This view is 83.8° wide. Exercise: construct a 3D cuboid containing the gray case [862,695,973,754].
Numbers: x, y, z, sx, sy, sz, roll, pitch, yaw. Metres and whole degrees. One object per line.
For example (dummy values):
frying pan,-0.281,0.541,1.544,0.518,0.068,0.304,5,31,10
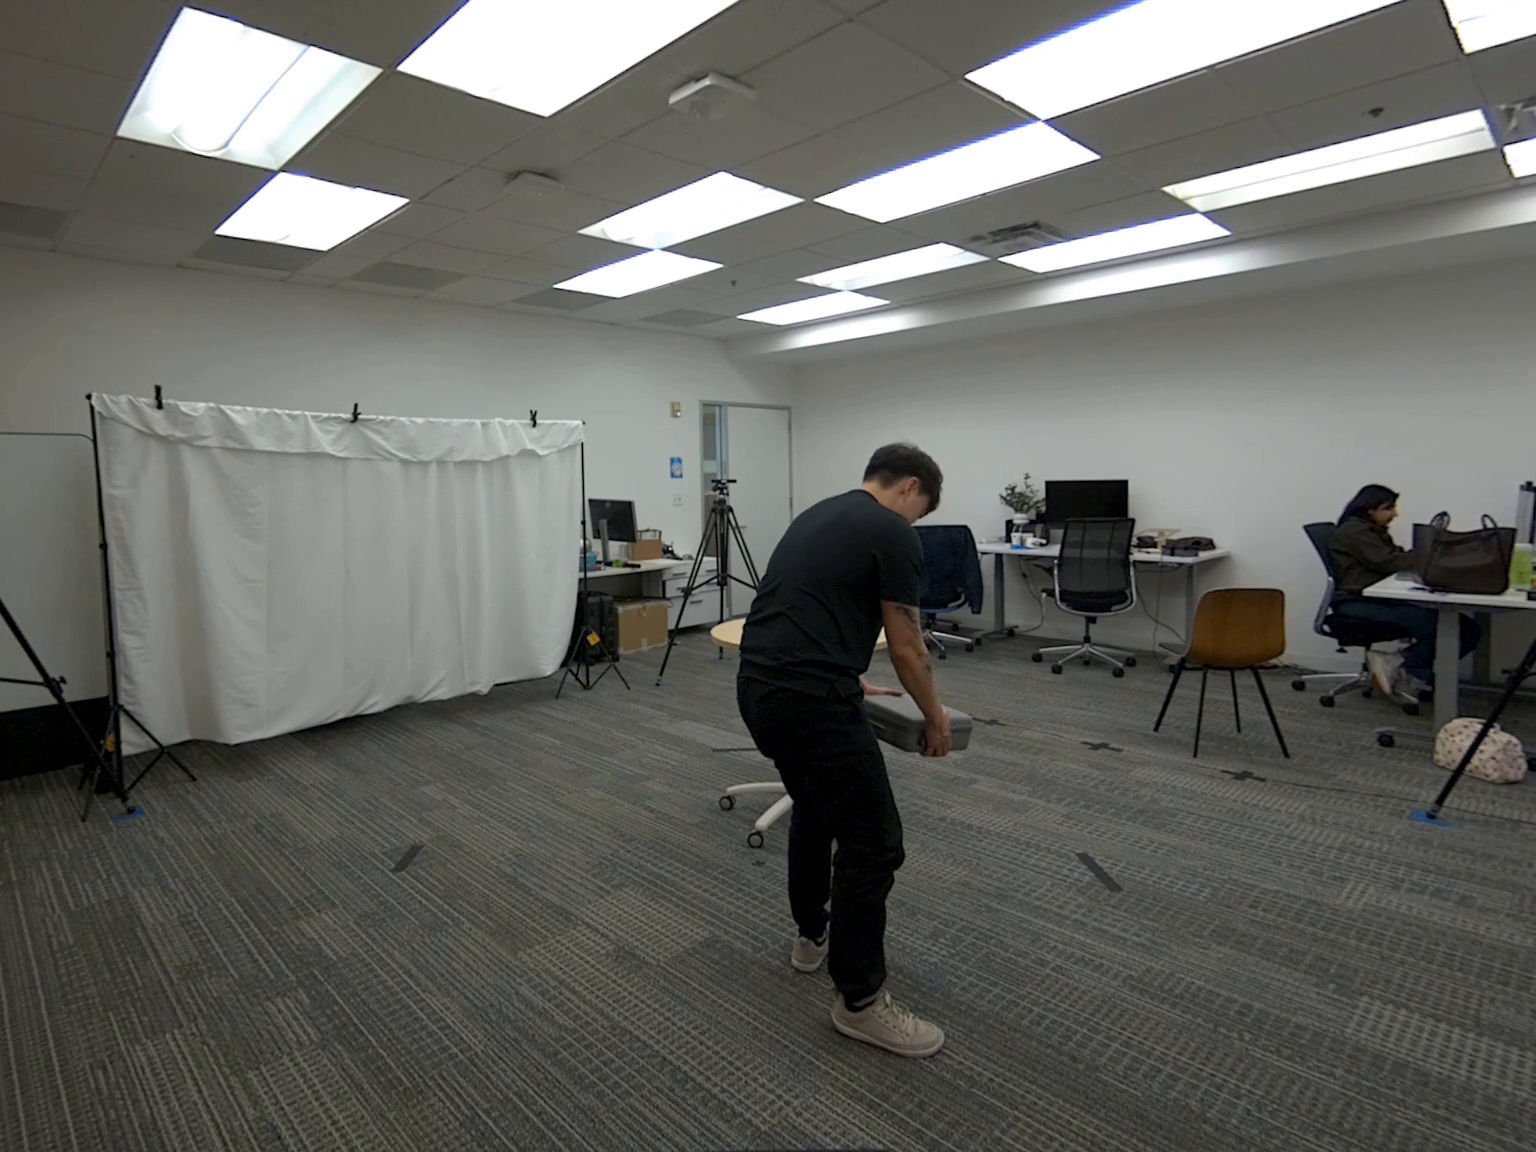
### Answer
gray case,0.418,0.427,2.469,0.253,0.104,0.265,4,7,-34
